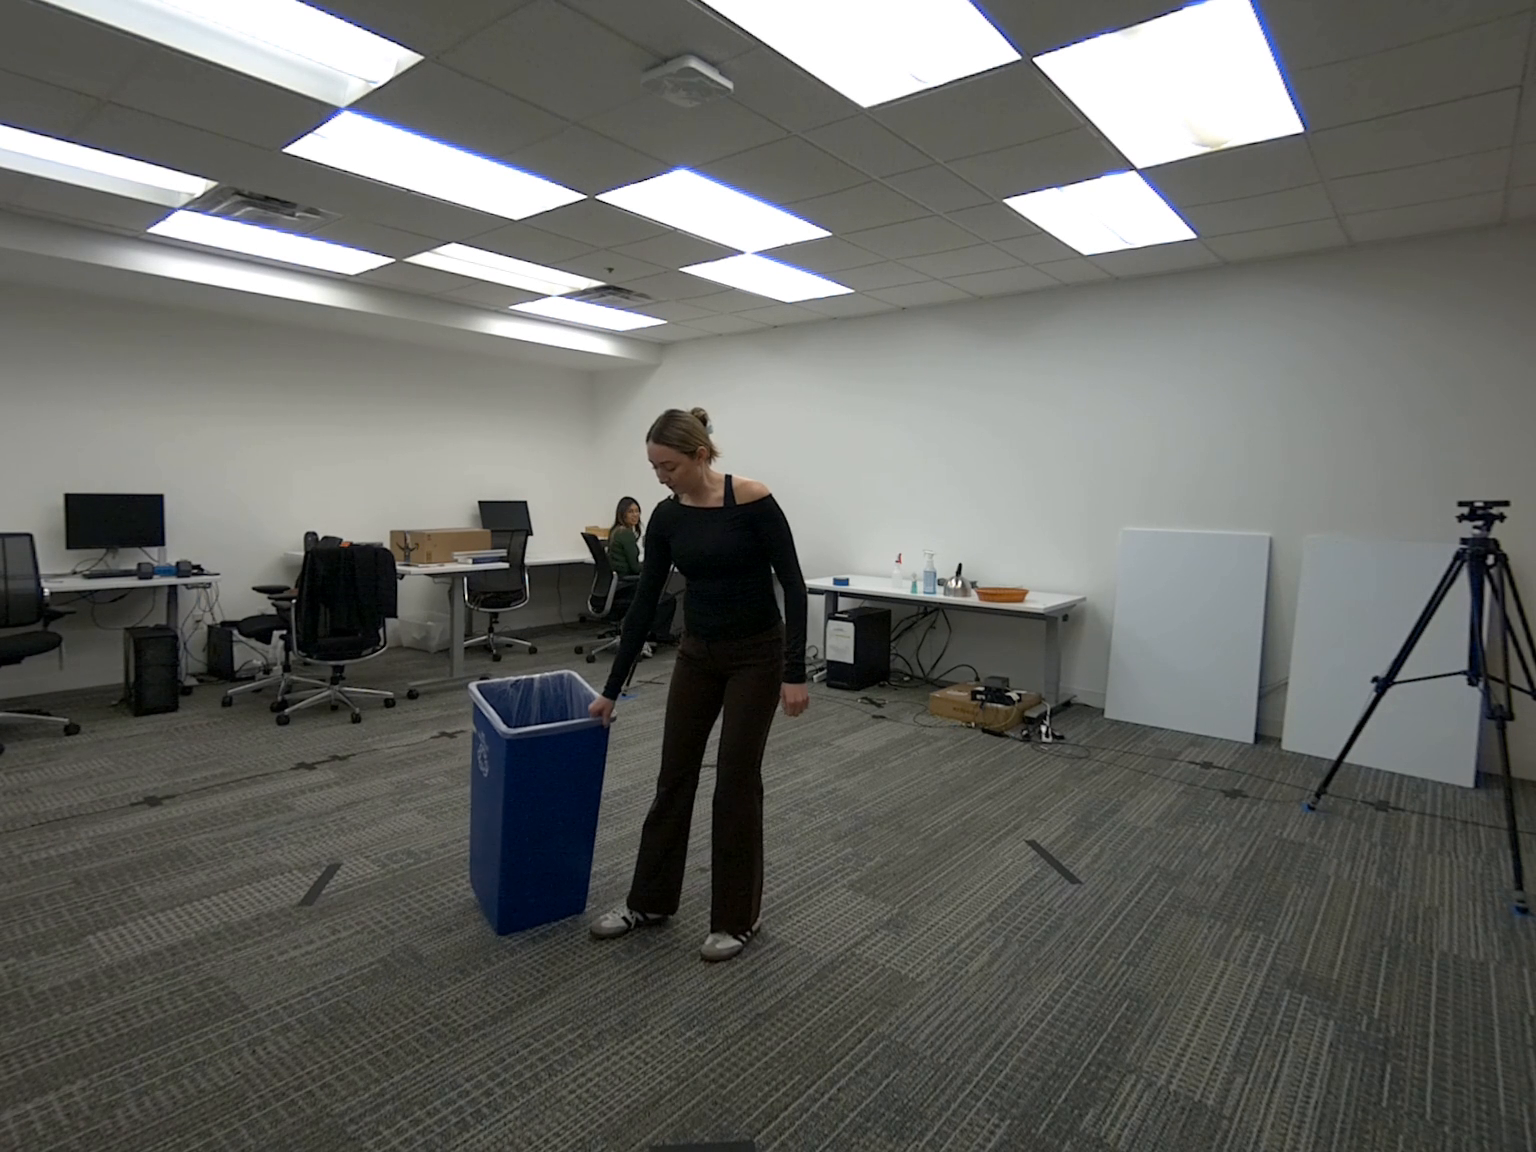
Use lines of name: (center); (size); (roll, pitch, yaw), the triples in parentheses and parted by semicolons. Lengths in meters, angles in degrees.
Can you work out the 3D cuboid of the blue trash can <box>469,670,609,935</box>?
blue trash can: (-0.753, 0.723, 2.739); (0.367, 0.706, 0.389); (-3, 17, -36)
